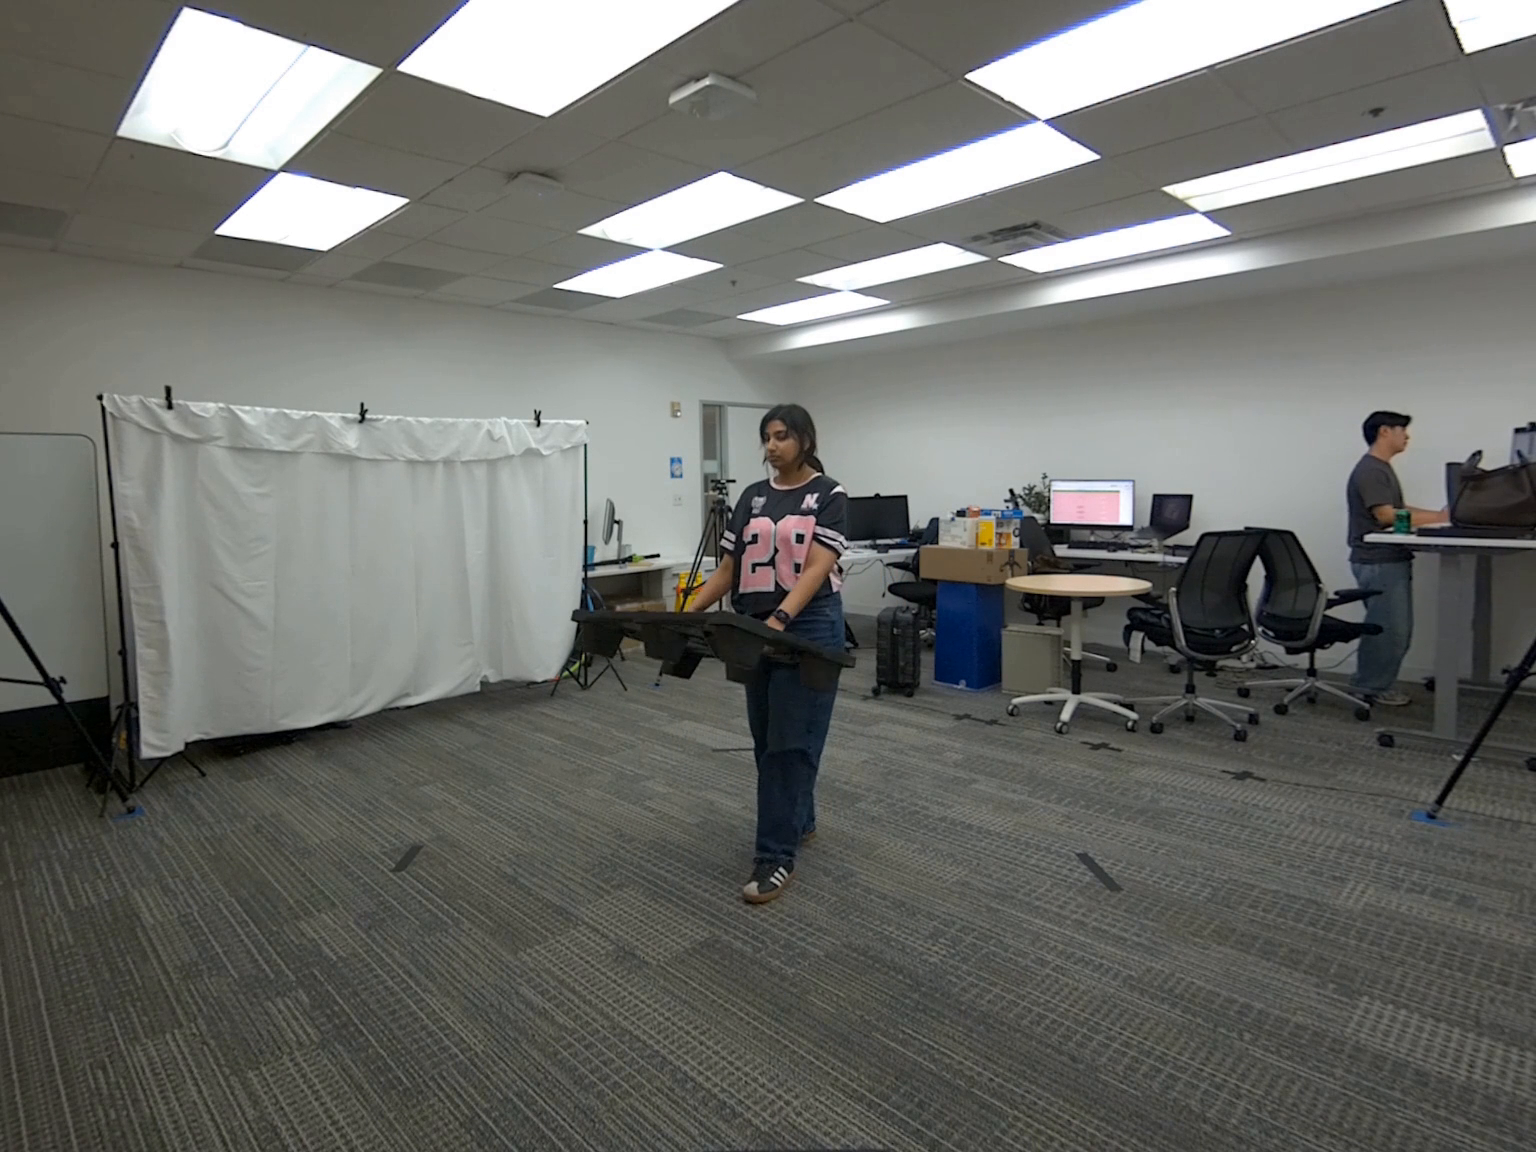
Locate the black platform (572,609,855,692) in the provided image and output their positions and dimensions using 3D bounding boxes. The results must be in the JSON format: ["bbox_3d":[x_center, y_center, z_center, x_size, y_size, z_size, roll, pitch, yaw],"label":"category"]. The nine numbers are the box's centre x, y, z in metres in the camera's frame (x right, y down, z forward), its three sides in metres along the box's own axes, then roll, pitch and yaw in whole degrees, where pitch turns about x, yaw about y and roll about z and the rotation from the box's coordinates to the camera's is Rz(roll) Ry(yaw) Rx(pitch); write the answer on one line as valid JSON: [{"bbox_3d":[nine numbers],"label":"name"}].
[{"bbox_3d":[-0.198,0.253,2.838,0.828,0.145,0.583,-2,-18,45],"label":"black platform"}]
